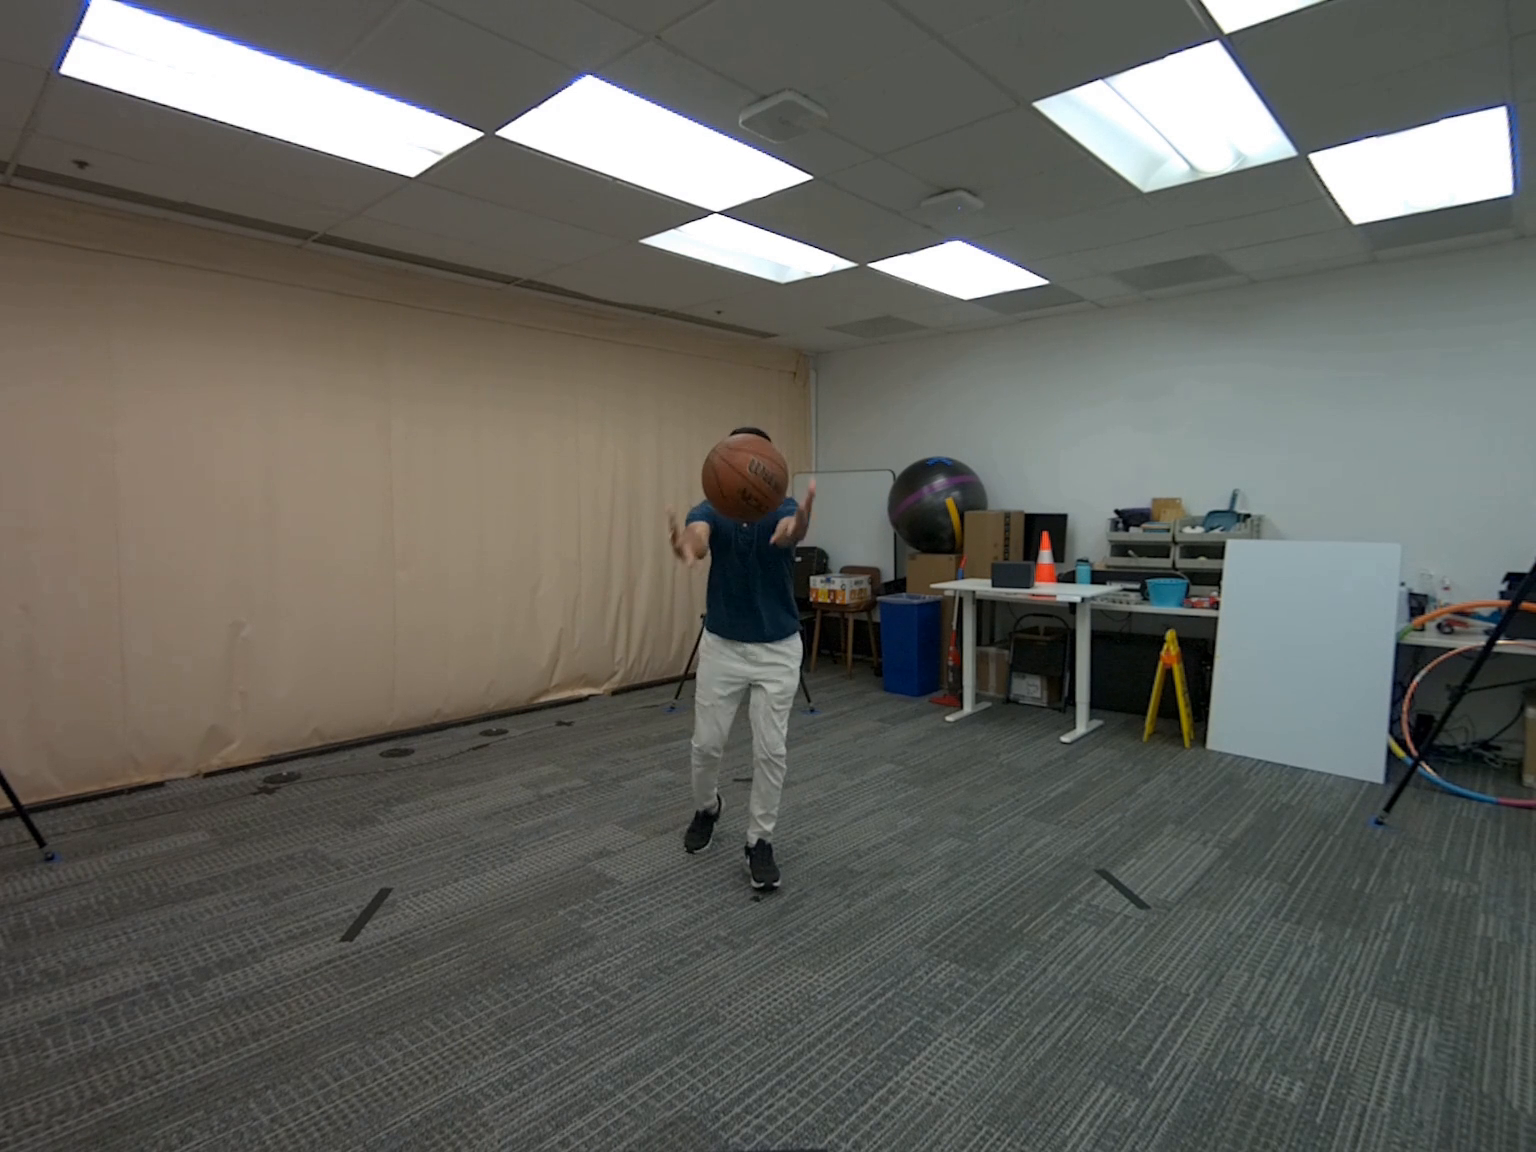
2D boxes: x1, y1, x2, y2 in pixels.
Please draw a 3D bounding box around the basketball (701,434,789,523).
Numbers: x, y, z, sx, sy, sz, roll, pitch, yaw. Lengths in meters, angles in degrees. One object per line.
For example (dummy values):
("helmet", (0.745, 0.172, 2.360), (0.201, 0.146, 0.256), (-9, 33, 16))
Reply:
("basketball", (-0.063, -0.243, 2.335), (0.236, 0.235, 0.237), (0, 4, -2))
